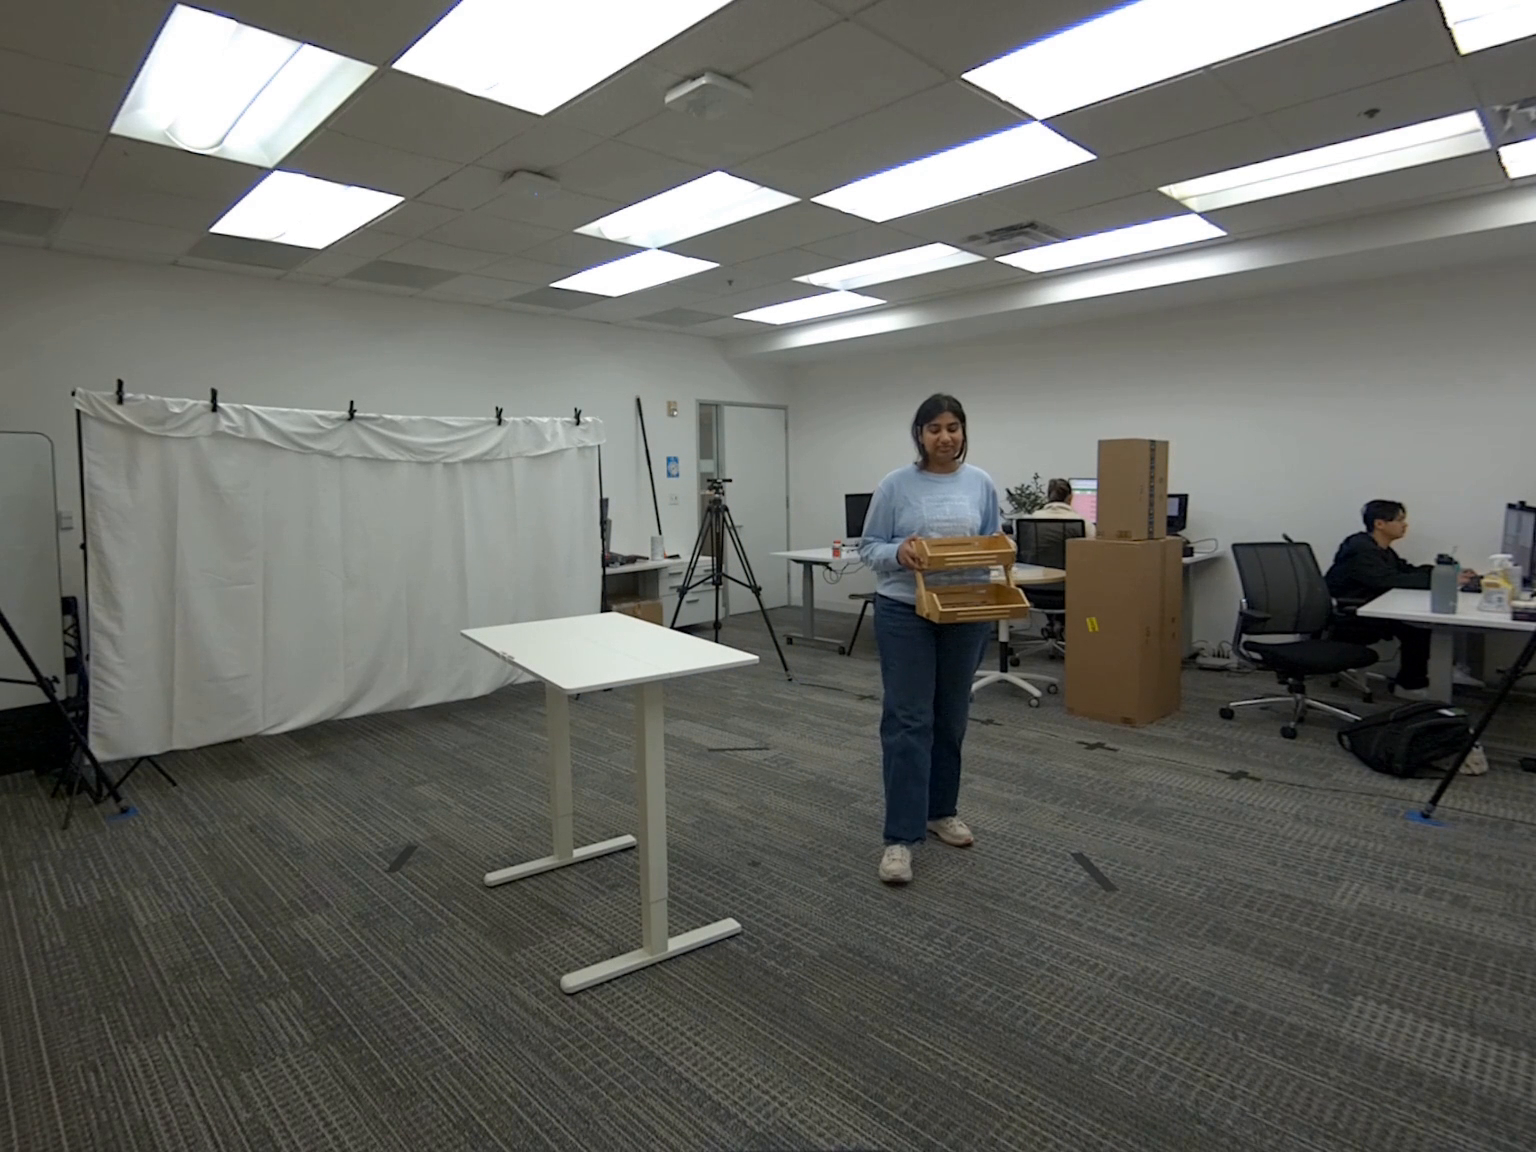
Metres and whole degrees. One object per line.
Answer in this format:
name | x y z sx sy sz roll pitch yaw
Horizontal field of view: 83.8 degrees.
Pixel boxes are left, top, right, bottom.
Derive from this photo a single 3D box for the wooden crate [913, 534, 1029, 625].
wooden crate | 0.679 0.000 2.902 0.323 0.272 0.304 -2 4 -4
